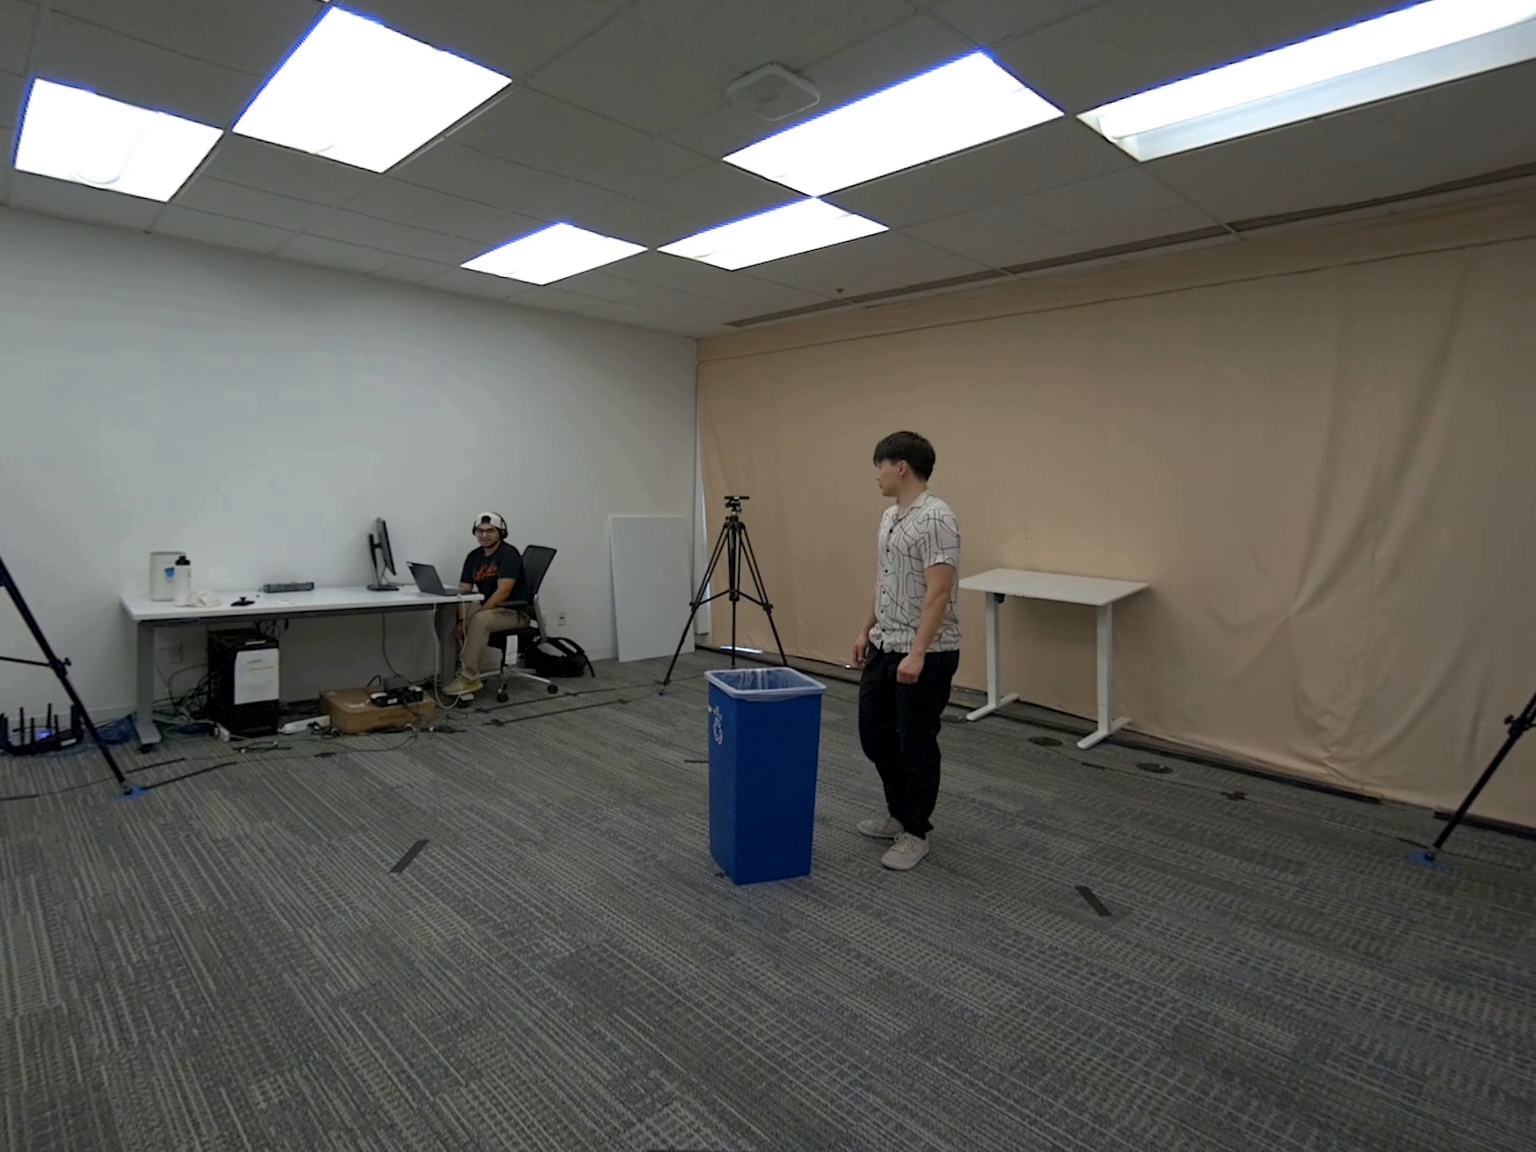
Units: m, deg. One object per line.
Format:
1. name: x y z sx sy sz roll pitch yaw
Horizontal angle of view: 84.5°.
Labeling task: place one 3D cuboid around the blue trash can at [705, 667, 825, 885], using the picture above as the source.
1. blue trash can: -0.034 0.742 3.178 0.368 0.712 0.385 0 4 -23
